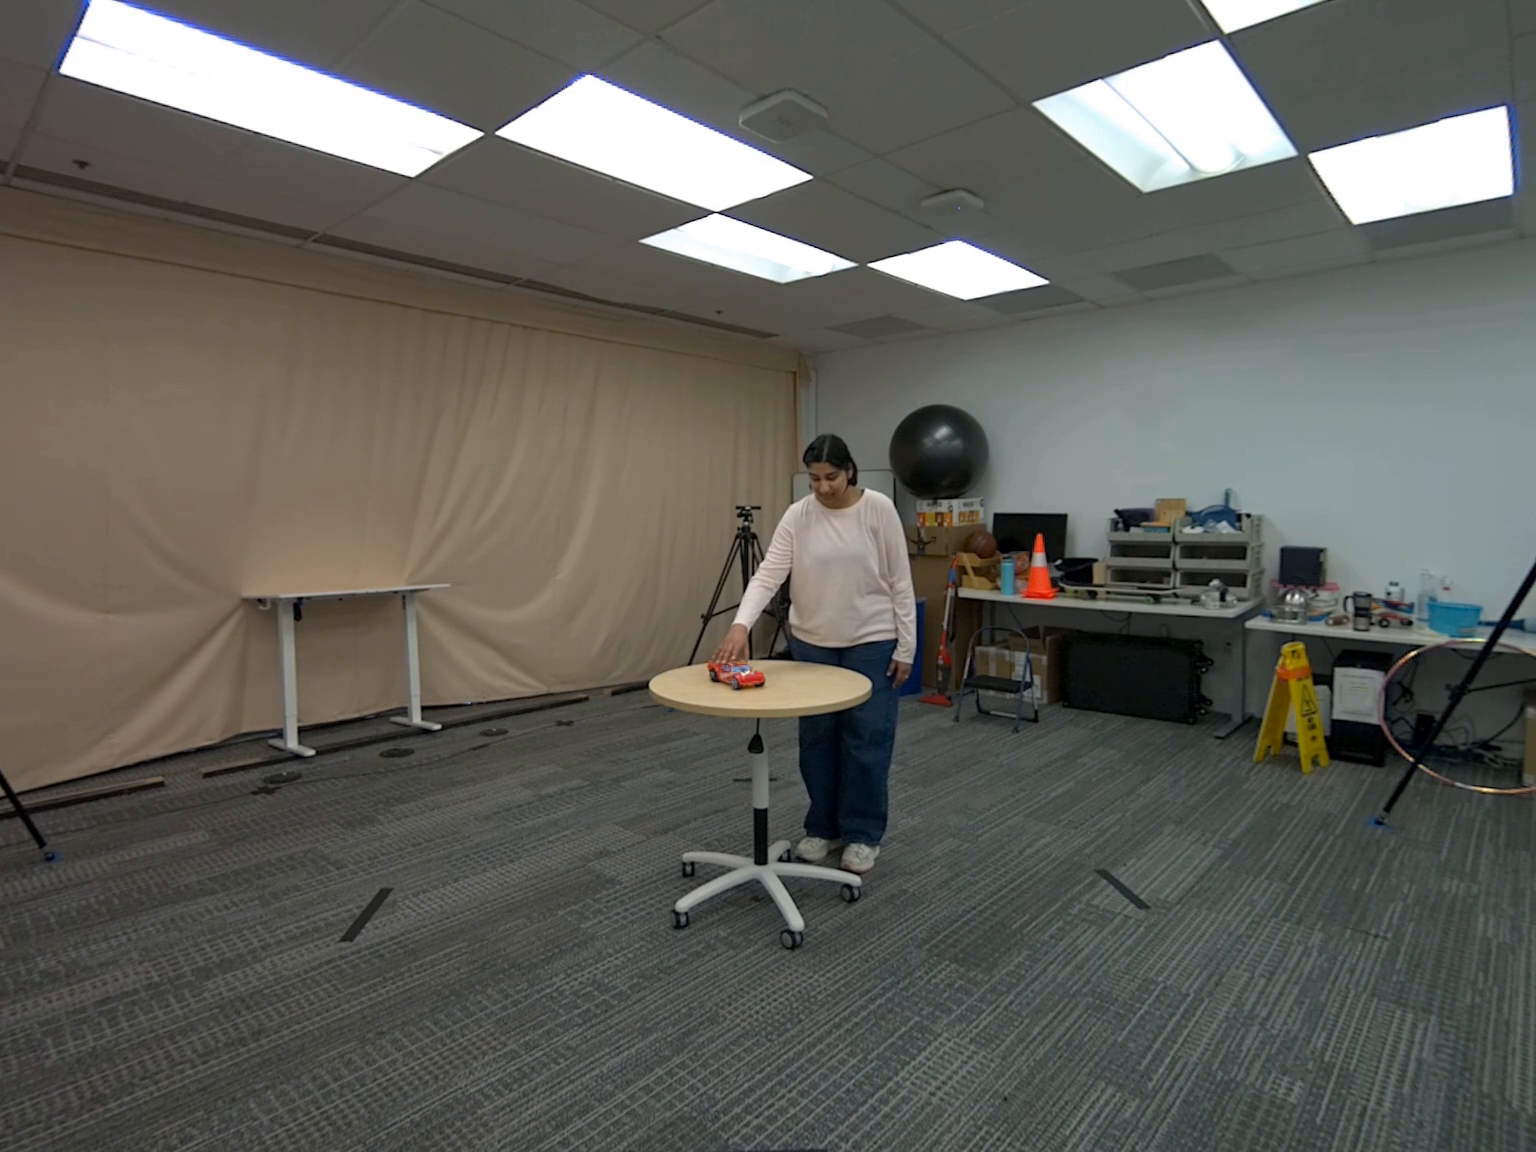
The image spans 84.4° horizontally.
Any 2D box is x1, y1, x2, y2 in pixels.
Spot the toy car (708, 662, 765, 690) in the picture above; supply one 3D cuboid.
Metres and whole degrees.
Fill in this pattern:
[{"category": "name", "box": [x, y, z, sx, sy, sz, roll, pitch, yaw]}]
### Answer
[{"category": "toy car", "box": [-0.113, 0.338, 2.900, 0.127, 0.082, 0.263, -3, 16, -31]}]
